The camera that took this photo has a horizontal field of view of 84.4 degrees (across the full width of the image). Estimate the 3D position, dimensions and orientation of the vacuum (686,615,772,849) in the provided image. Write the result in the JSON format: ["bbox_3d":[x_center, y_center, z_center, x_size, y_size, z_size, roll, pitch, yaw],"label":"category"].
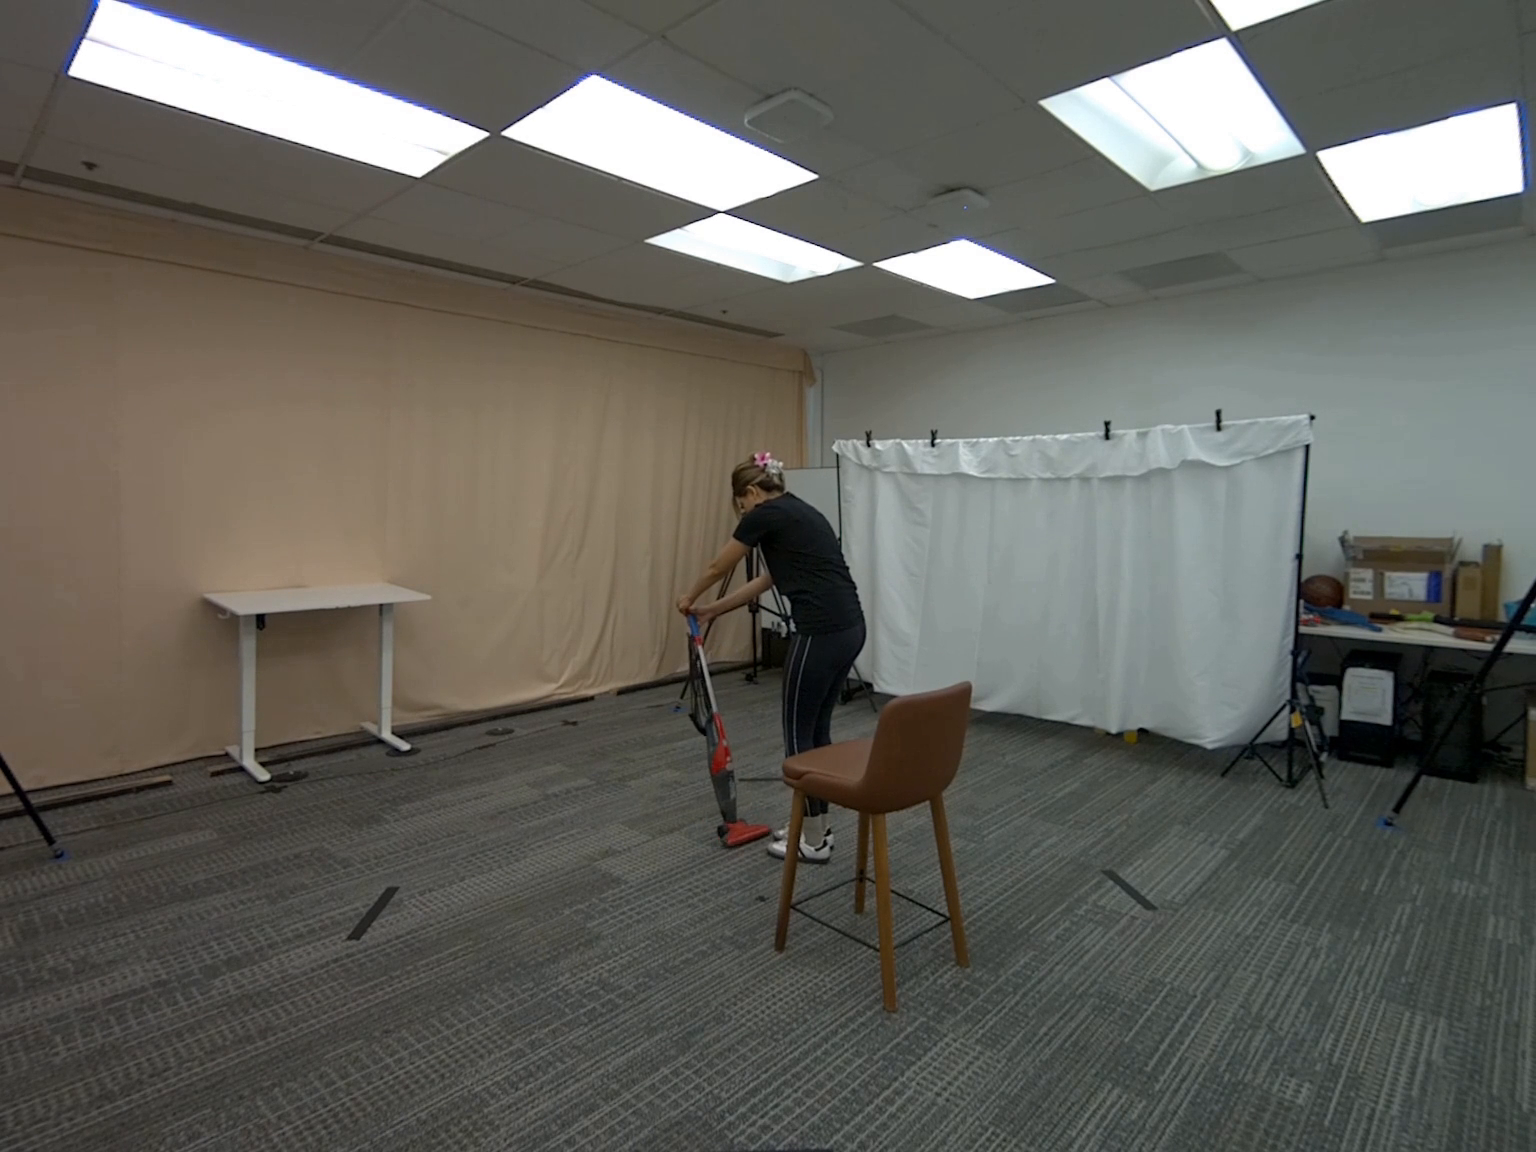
[{"bbox_3d":[-0.257,0.600,3.673,0.245,1.063,0.146,-1,-21,-41],"label":"vacuum"}]
